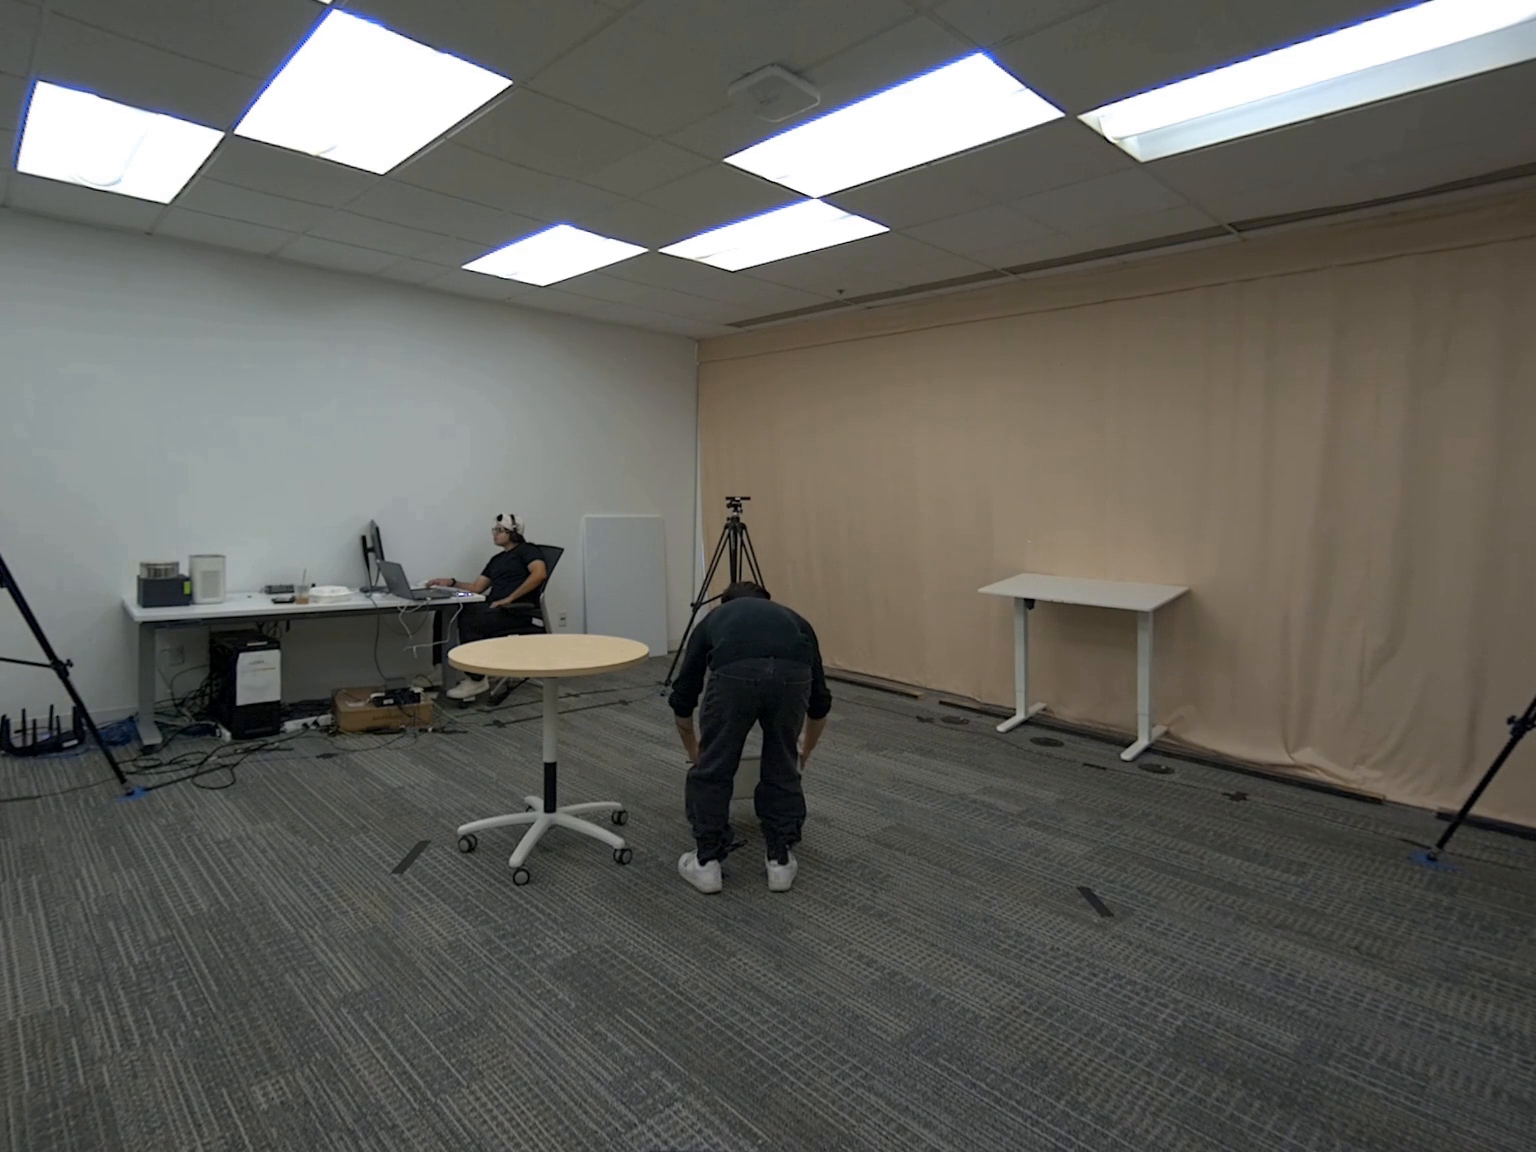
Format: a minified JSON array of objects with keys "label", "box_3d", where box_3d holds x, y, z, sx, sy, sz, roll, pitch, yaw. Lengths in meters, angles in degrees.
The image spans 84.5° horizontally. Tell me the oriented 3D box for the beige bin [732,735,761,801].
[{"label":"beige bin","box_3d":[-0.082,0.827,3.520,0.421,0.189,0.377,-1,-2,-4]}]
